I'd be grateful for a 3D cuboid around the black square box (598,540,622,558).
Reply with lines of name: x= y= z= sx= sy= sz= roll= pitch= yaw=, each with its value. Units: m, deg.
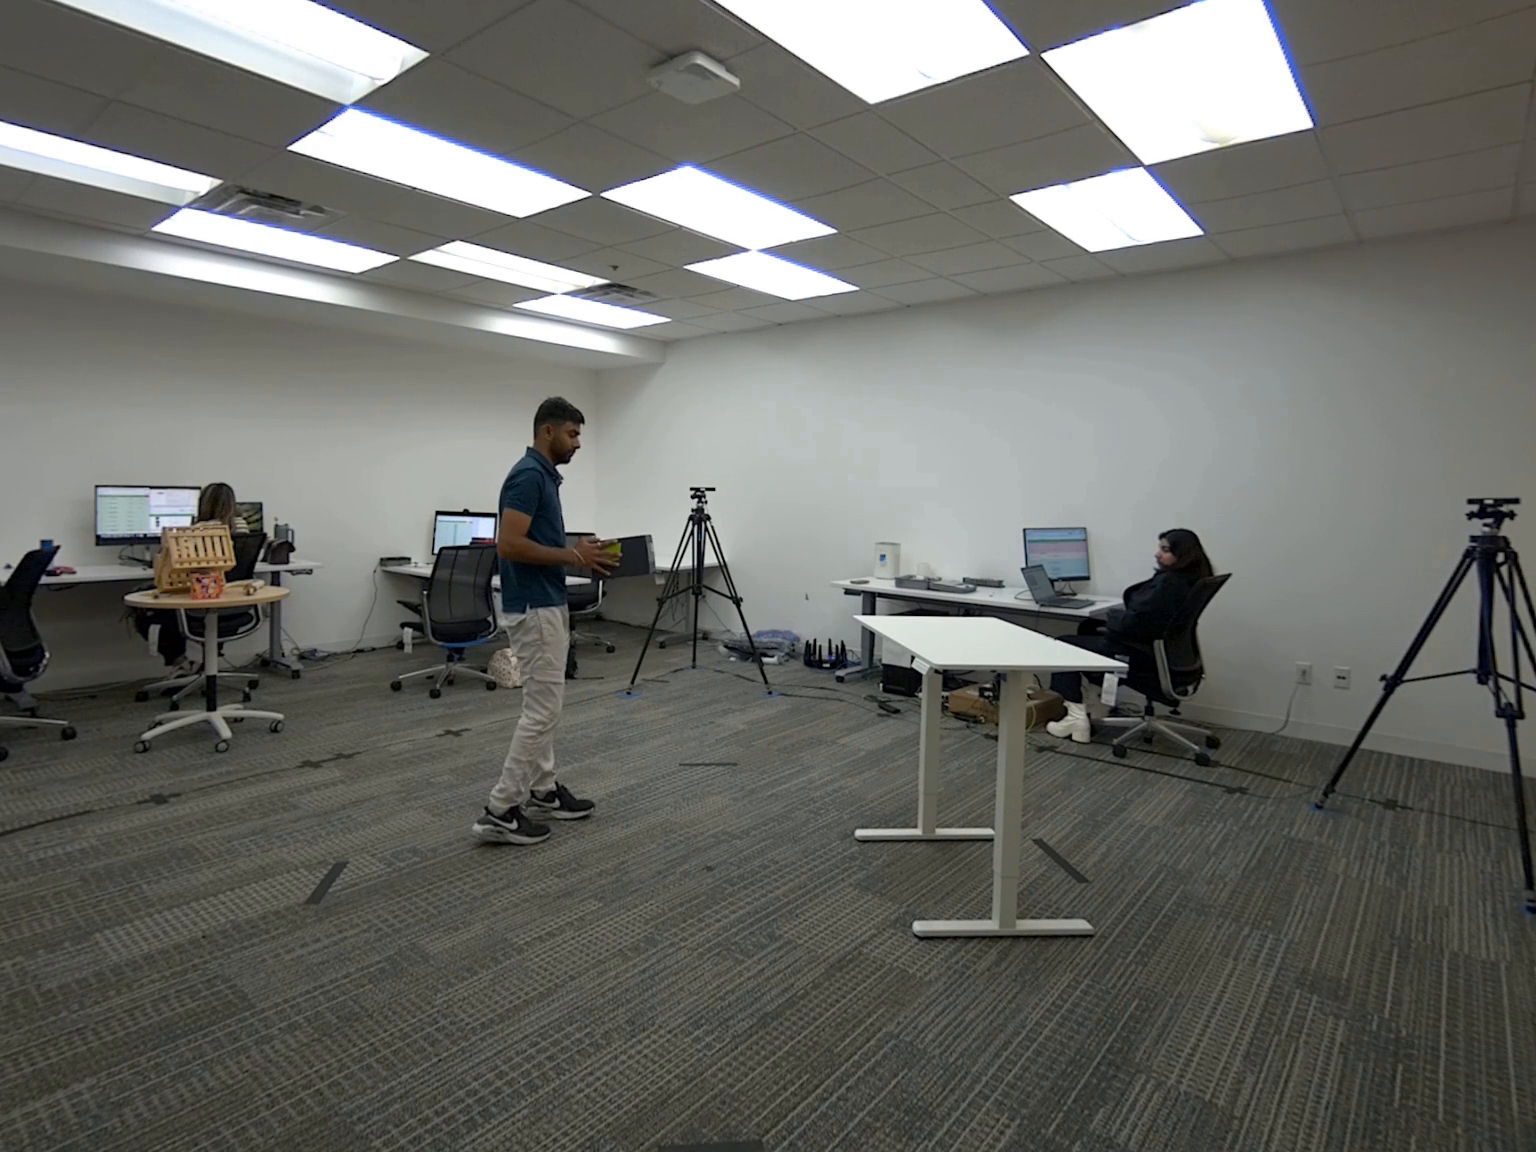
black square box: x=-0.602 y=-0.084 z=3.417 sx=0.228 sy=0.156 sz=0.217 roll=-3 pitch=3 yaw=-1
